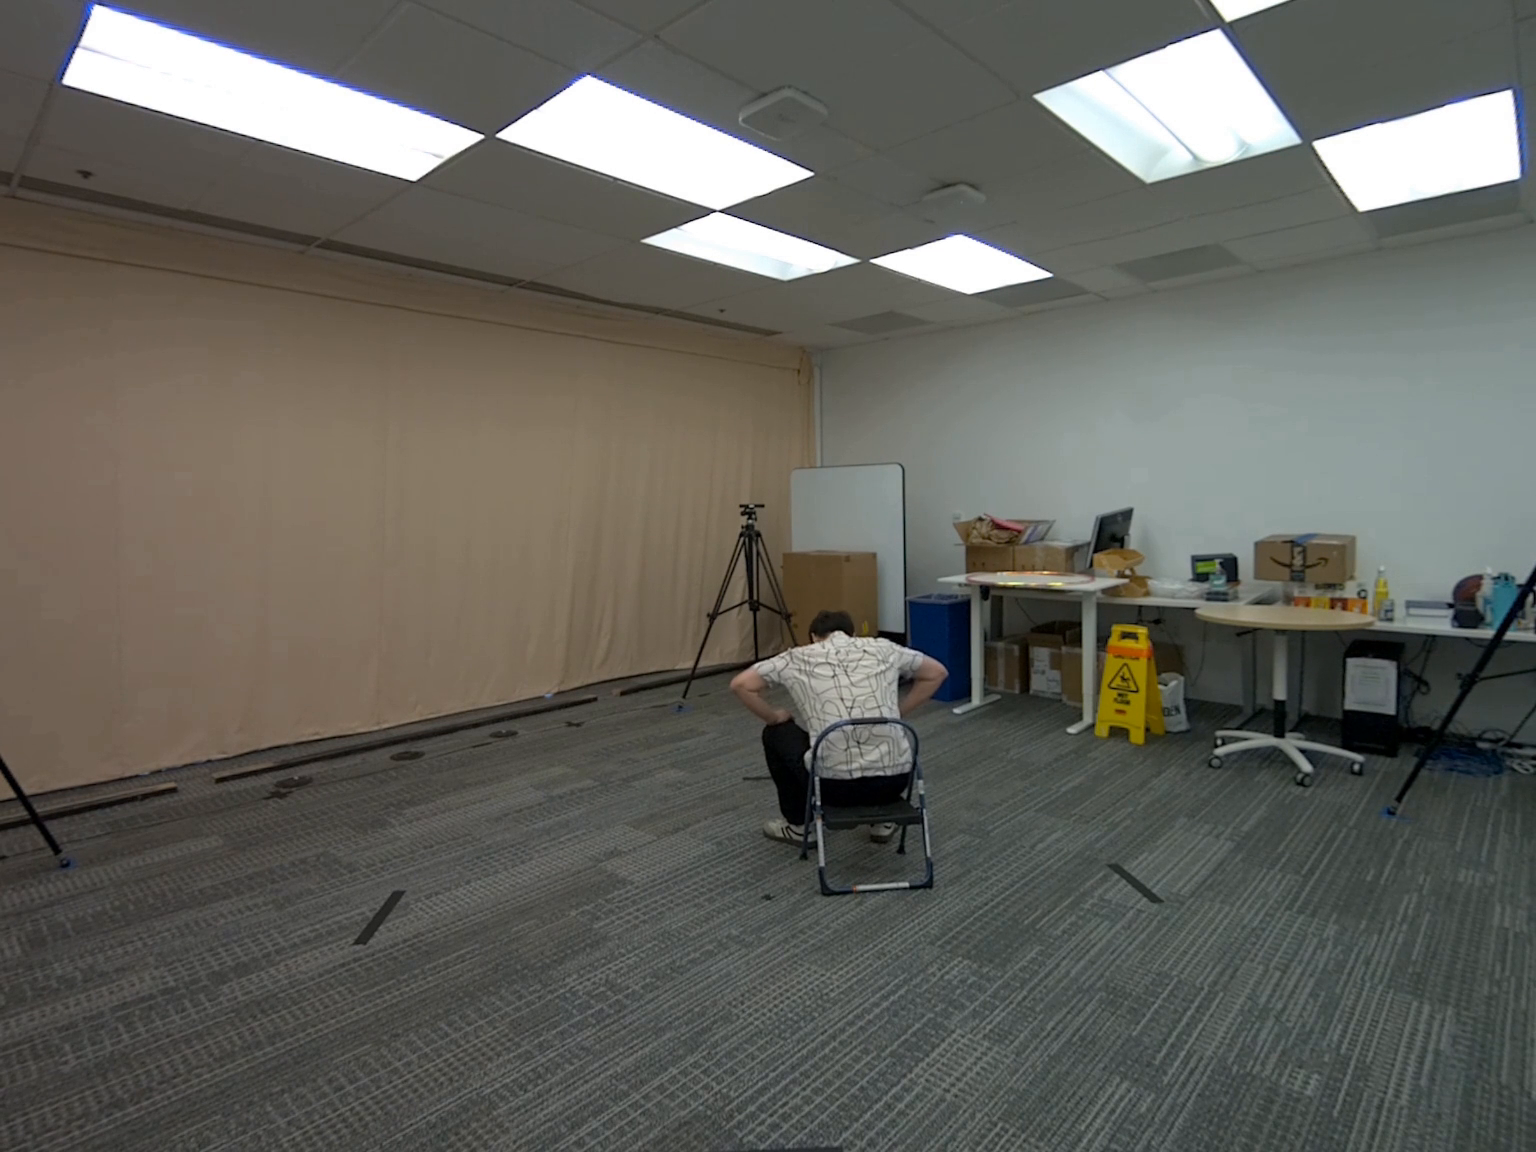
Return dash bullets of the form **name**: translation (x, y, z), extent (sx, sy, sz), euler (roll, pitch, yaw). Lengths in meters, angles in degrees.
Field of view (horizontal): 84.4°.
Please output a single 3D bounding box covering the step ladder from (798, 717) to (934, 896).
- **step ladder**: translation (0.361, 0.816, 3.158), extent (0.427, 0.605, 0.353), euler (-1, 3, -9)
